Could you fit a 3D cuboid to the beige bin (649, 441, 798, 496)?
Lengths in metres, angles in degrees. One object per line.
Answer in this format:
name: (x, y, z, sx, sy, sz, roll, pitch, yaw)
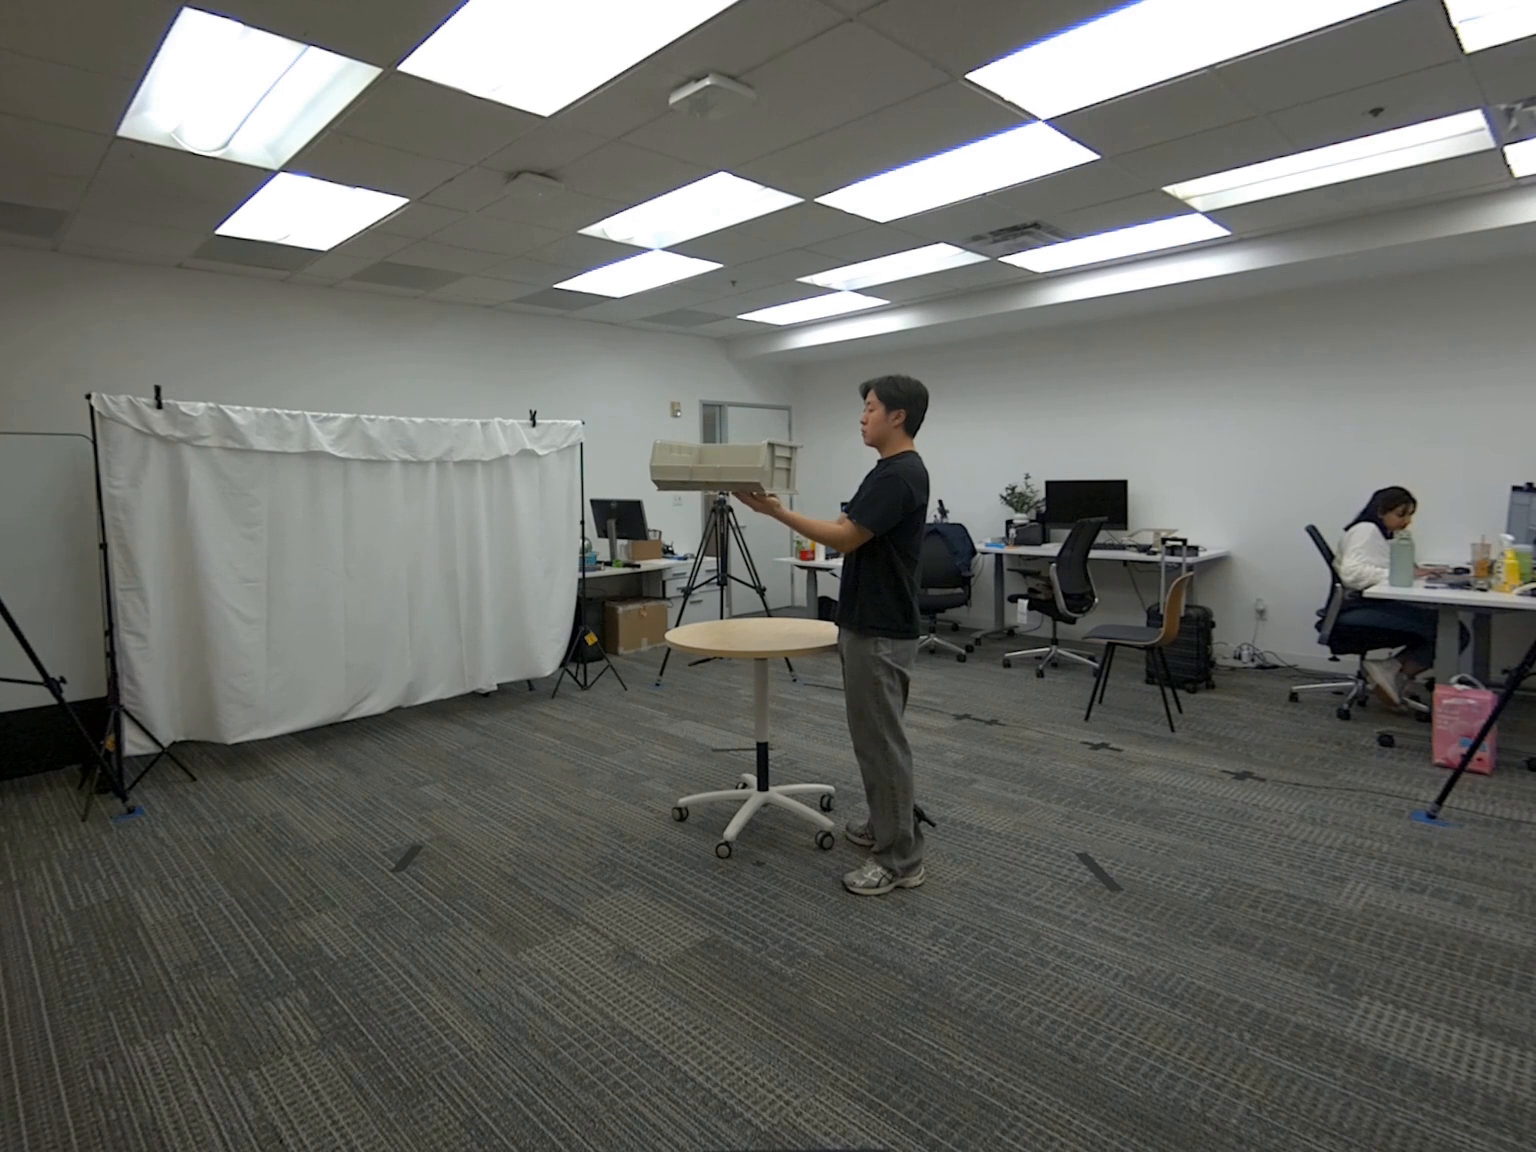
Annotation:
beige bin: (-0.138, -0.388, 2.994, 0.432, 0.188, 0.370, 3, 5, 23)
